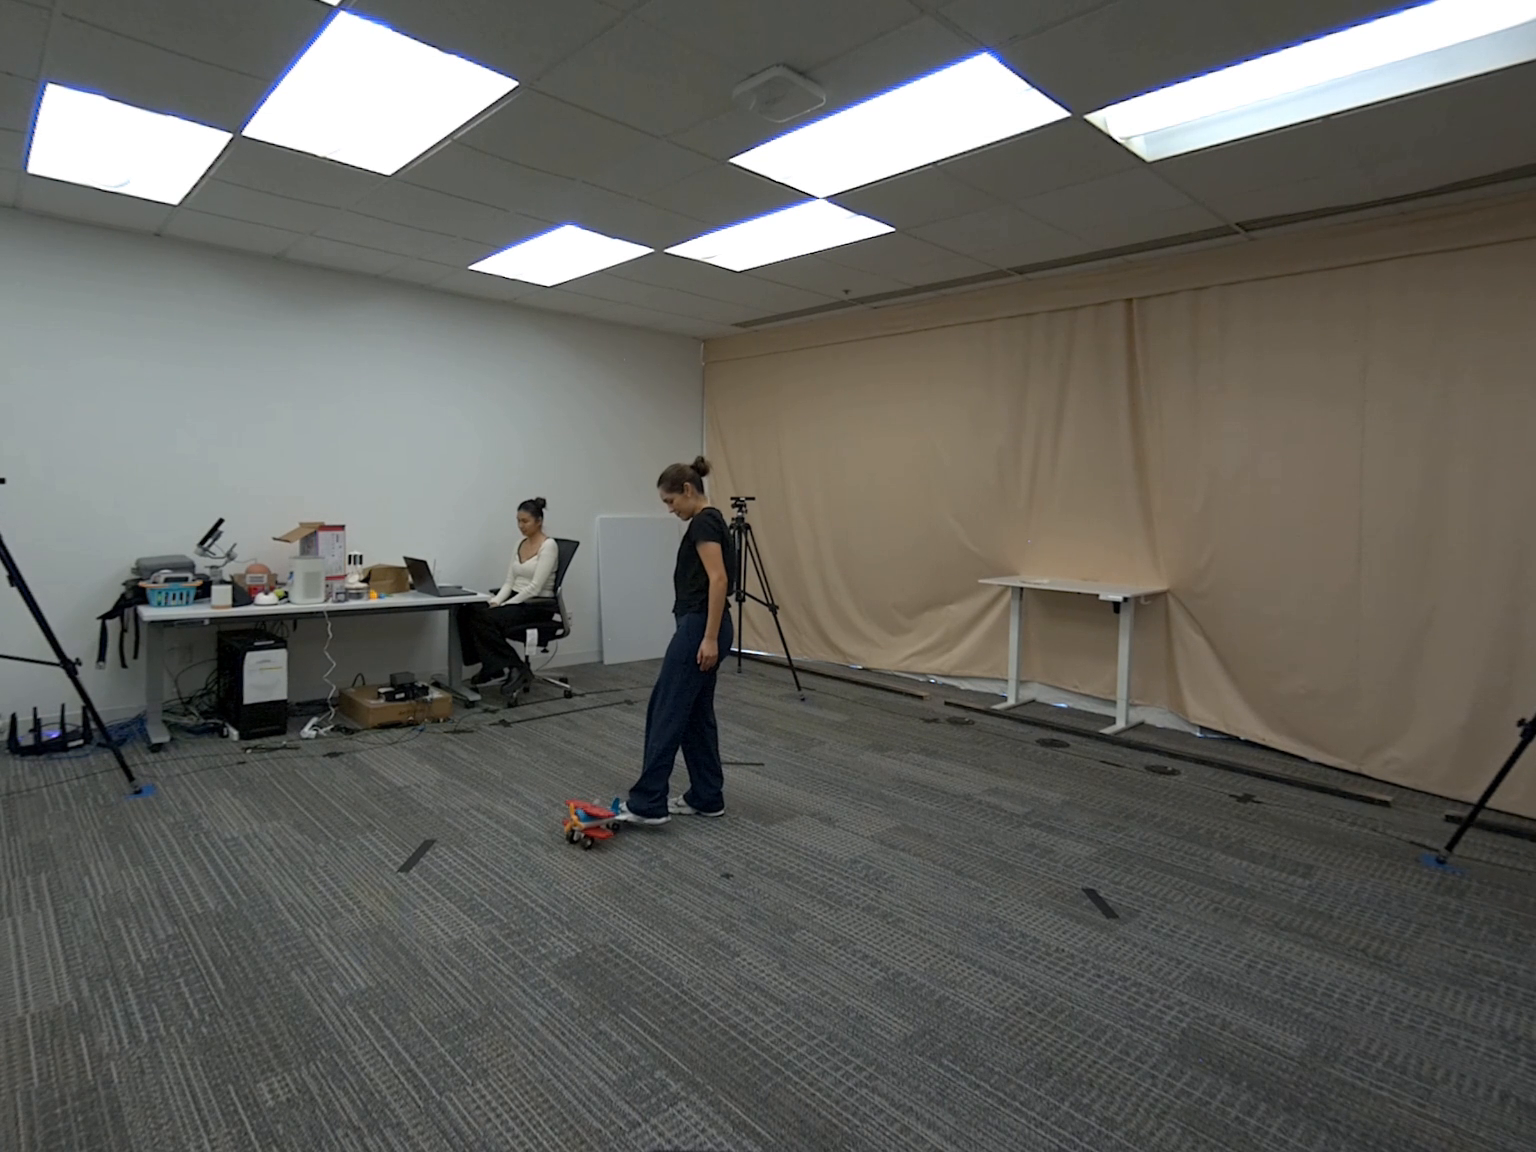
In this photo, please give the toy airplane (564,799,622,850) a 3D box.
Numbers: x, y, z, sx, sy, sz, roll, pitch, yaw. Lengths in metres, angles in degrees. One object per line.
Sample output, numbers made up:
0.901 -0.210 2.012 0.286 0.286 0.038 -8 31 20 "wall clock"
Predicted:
-0.719 0.988 3.393 0.253 0.155 0.259 0 9 9 "toy airplane"
